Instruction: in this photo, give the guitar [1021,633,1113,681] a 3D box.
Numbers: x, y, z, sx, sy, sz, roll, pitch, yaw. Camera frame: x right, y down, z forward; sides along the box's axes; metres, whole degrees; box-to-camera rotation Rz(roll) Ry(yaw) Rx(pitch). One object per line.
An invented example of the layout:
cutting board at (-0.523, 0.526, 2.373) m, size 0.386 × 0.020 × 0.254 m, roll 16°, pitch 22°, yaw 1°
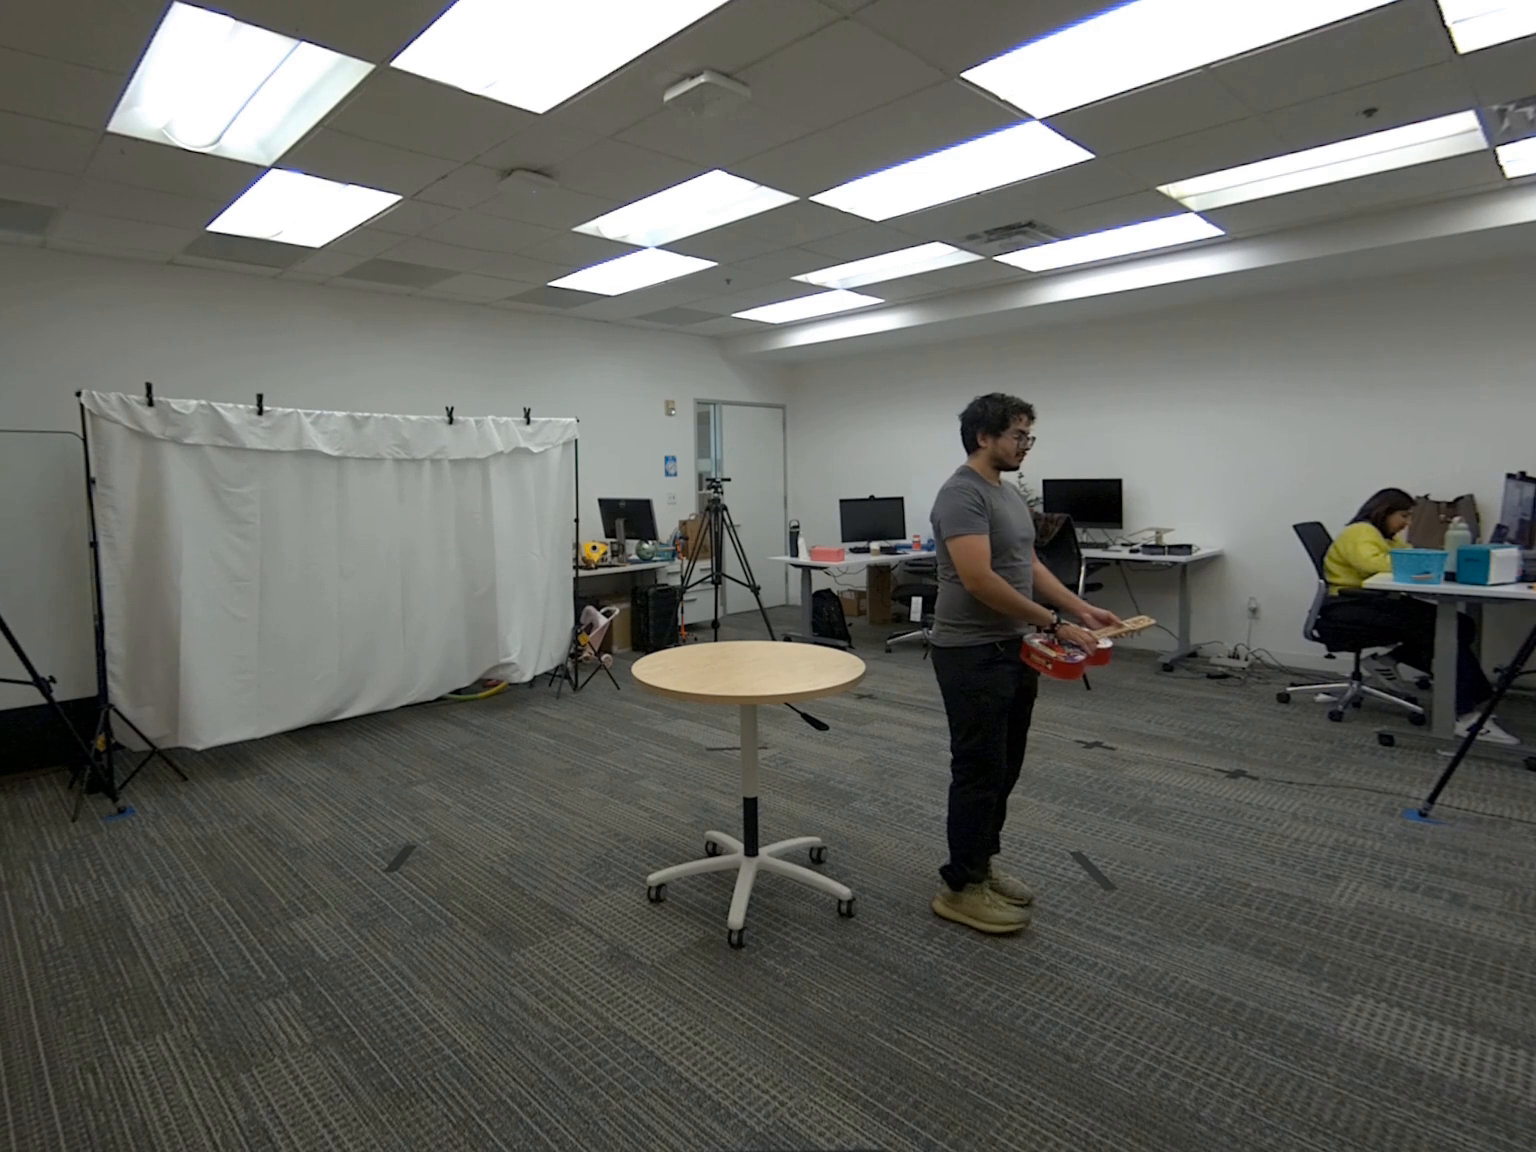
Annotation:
guitar at (1.011, 0.216, 2.603) m, size 0.490 × 0.069 × 0.200 m, roll -6°, pitch 25°, yaw -19°
